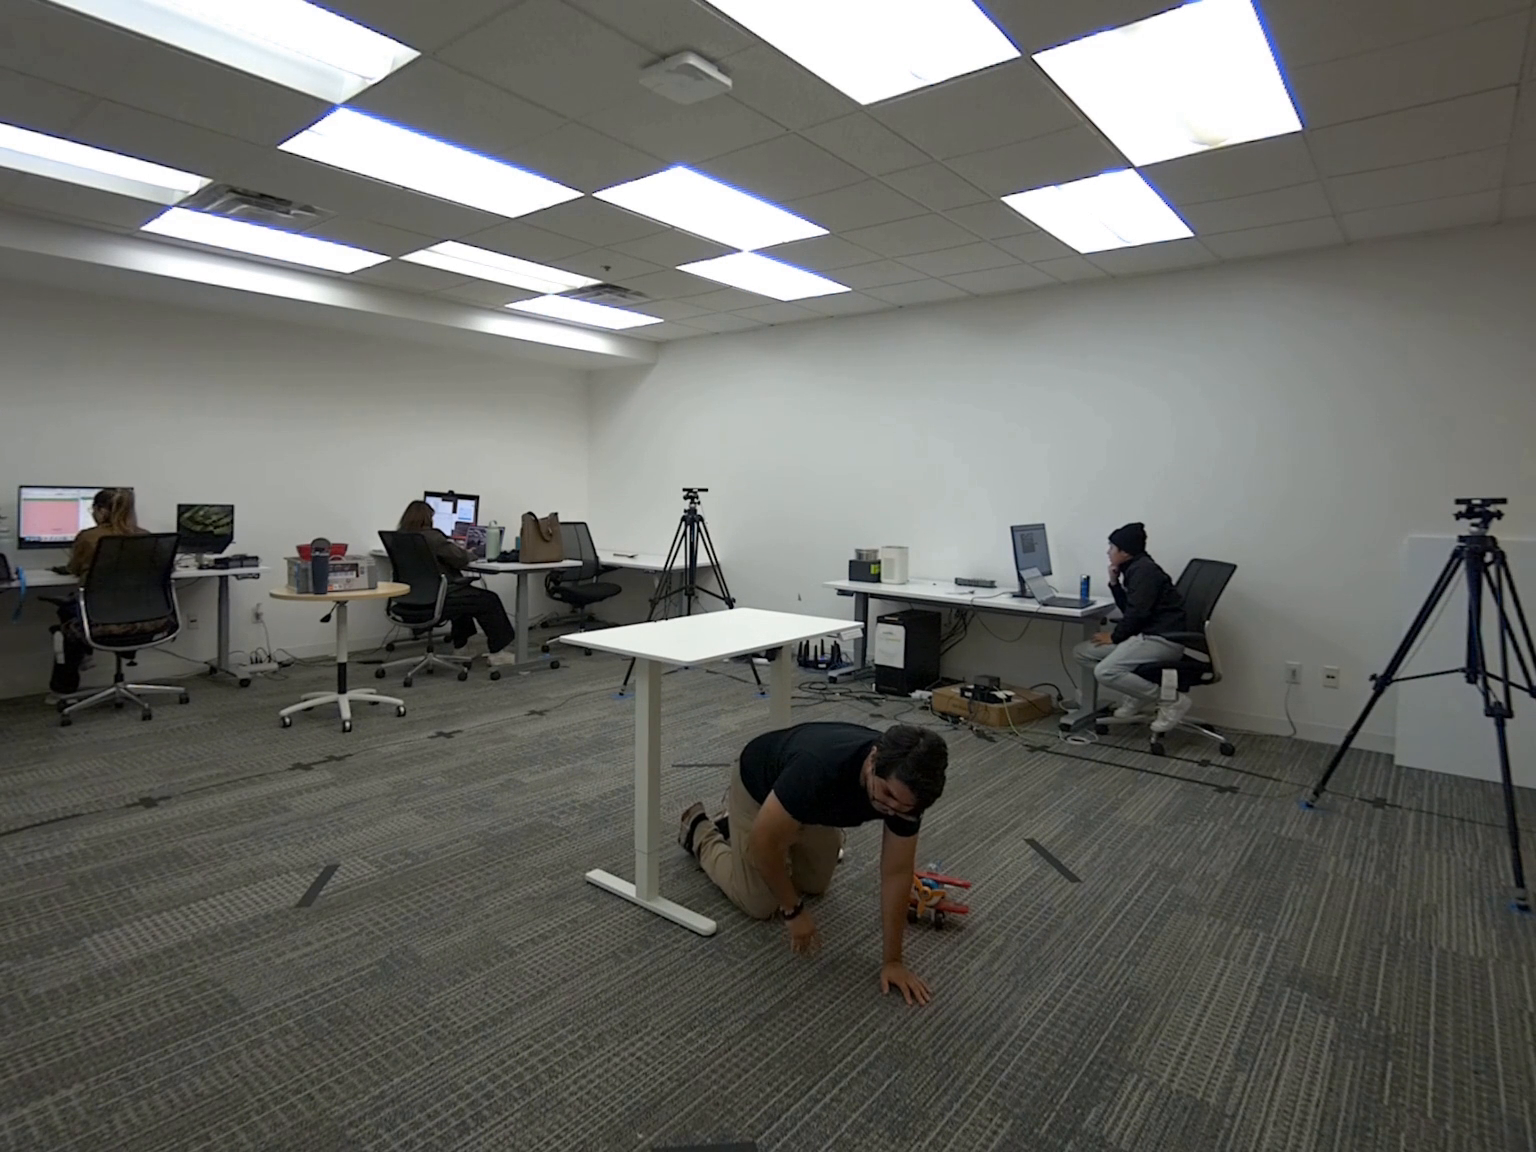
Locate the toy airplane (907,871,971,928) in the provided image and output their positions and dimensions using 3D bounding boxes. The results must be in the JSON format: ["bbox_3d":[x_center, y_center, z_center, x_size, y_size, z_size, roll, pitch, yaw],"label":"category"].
[{"bbox_3d":[0.522,1.048,2.825,0.250,0.156,0.261,0,6,-3],"label":"toy airplane"}]
